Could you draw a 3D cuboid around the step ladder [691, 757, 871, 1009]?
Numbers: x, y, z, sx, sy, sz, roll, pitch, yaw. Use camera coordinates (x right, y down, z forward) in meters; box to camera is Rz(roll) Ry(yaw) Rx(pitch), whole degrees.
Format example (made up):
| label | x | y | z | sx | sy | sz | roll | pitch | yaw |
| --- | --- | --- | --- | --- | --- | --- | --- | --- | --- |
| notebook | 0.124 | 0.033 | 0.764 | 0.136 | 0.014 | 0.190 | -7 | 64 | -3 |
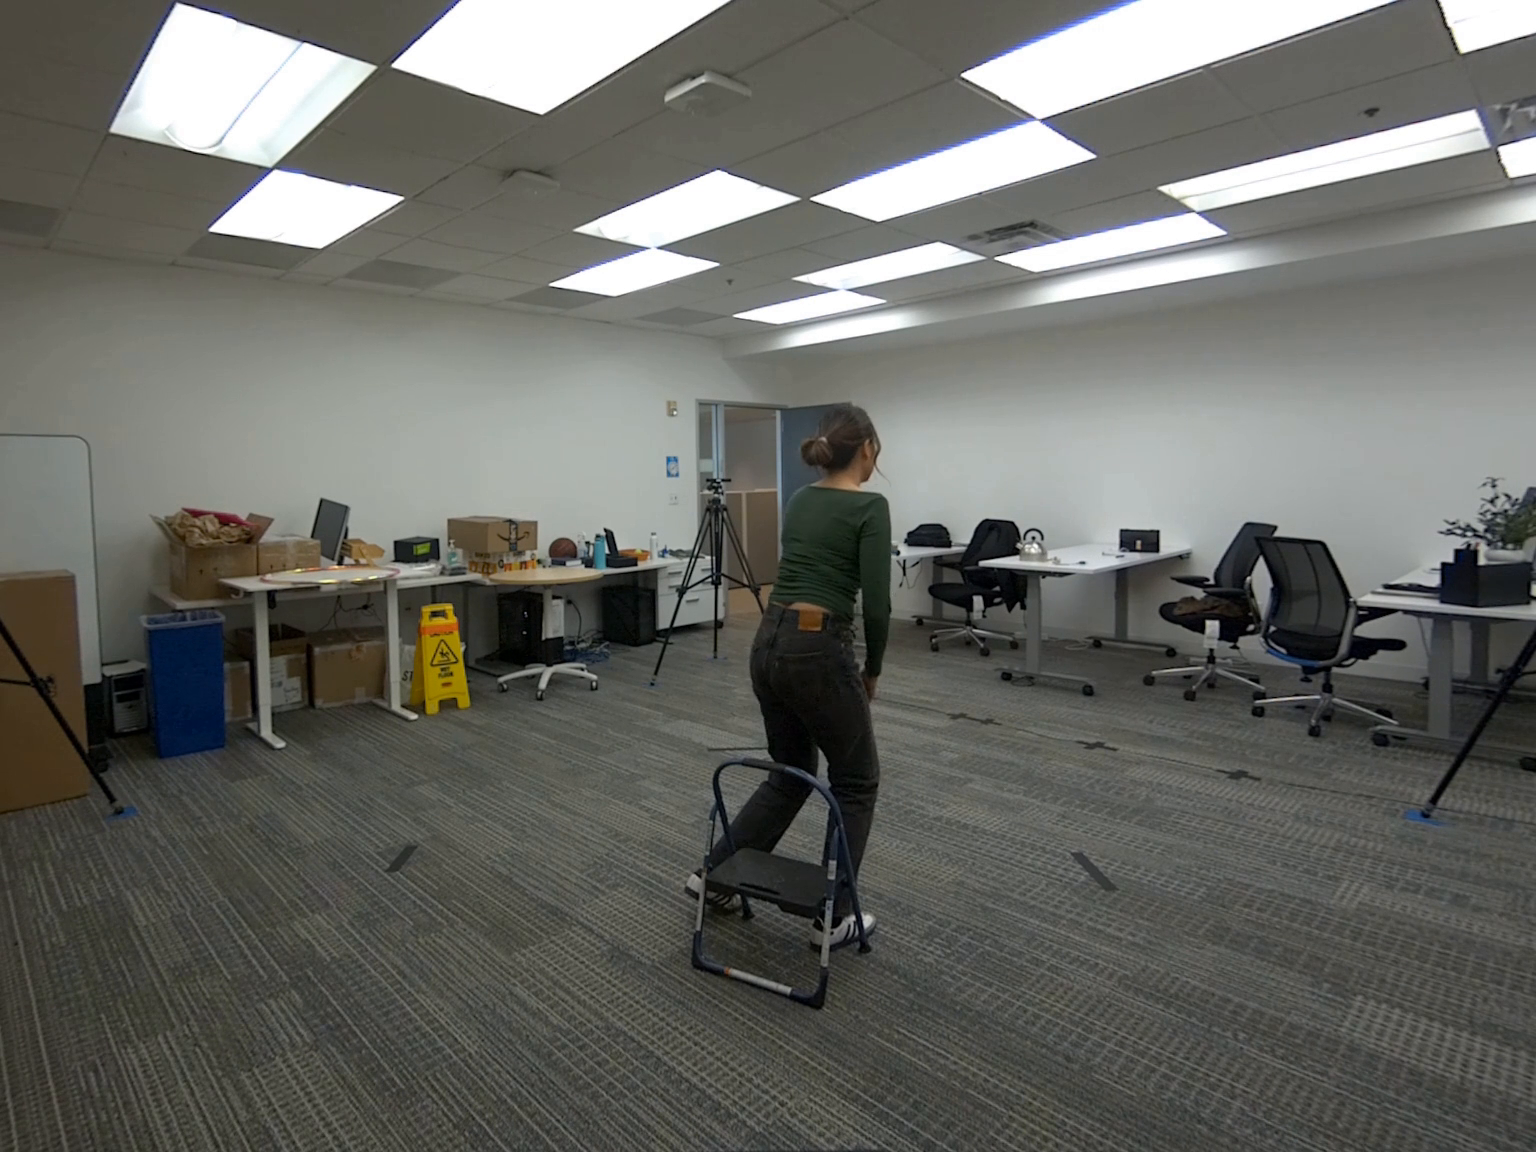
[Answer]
| label | x | y | z | sx | sy | sz | roll | pitch | yaw |
| --- | --- | --- | --- | --- | --- | --- | --- | --- | --- |
| step ladder | 0.037 | 0.816 | 2.472 | 0.442 | 0.604 | 0.342 | 1 | 5 | 29 |
